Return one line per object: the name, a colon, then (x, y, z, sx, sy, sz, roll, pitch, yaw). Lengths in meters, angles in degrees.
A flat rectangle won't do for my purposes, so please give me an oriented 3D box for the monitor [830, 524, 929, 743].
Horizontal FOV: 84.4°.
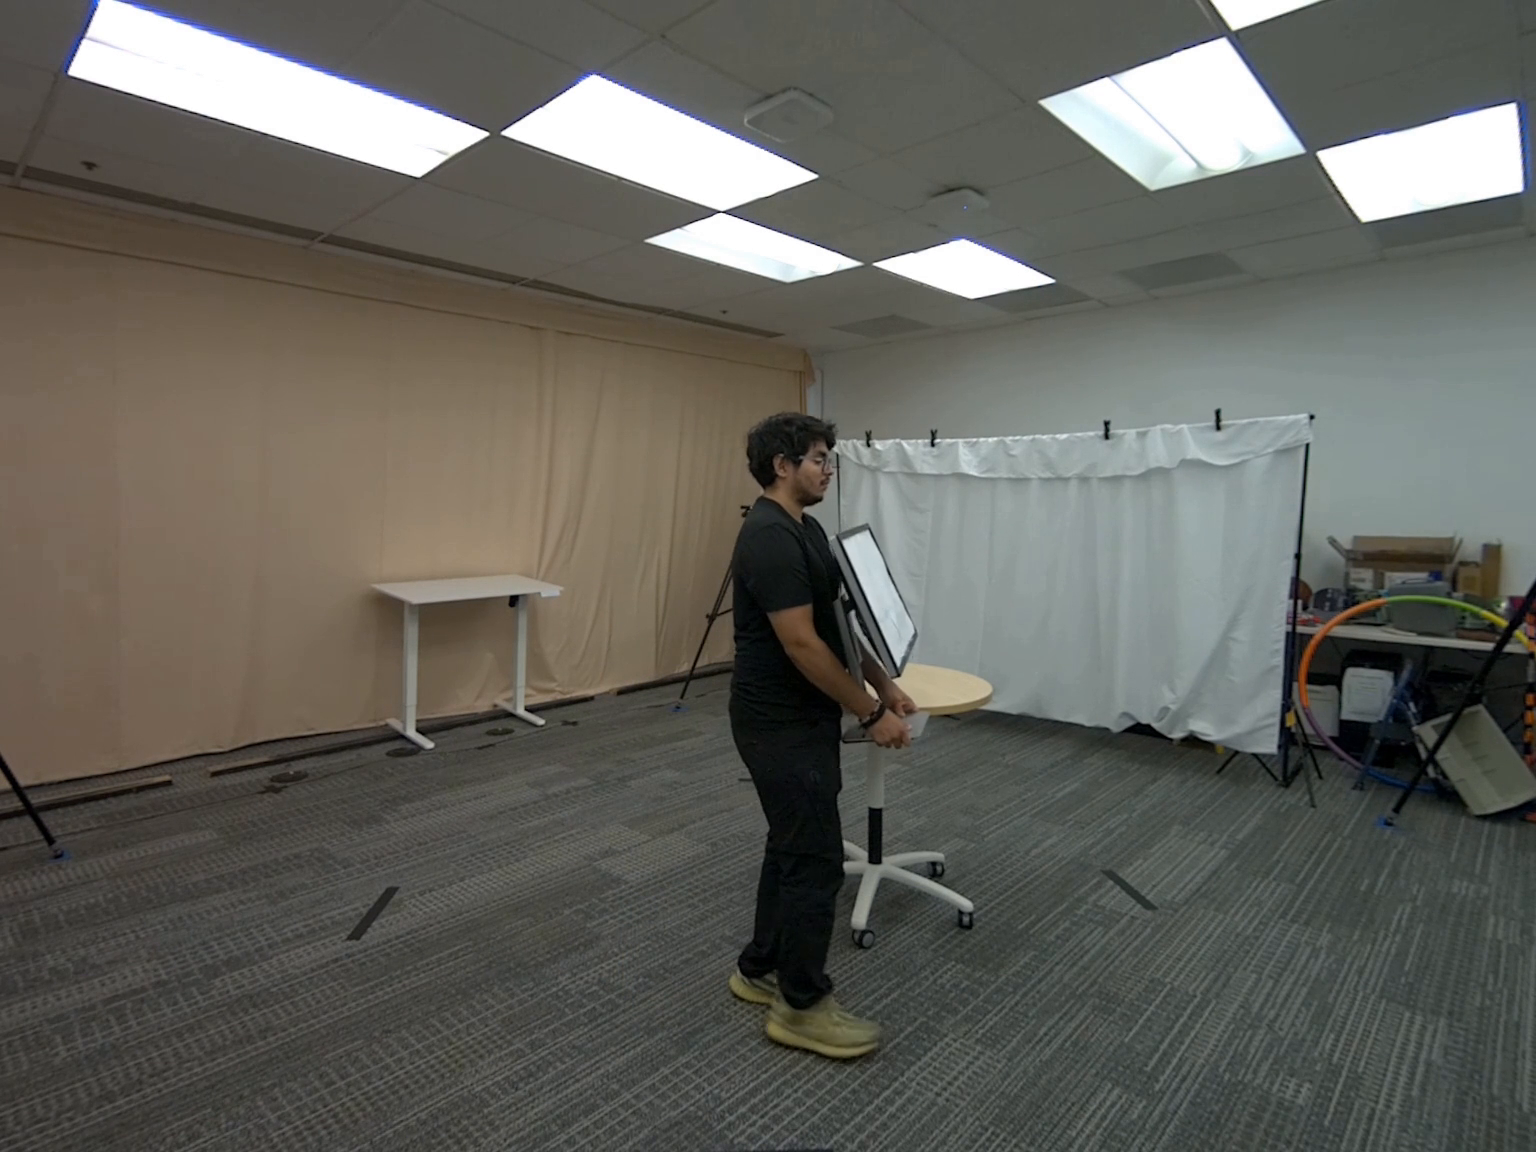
monitor: (0.255, 0.147, 2.245, 0.213, 0.554, 0.557, -17, 1, 16)
